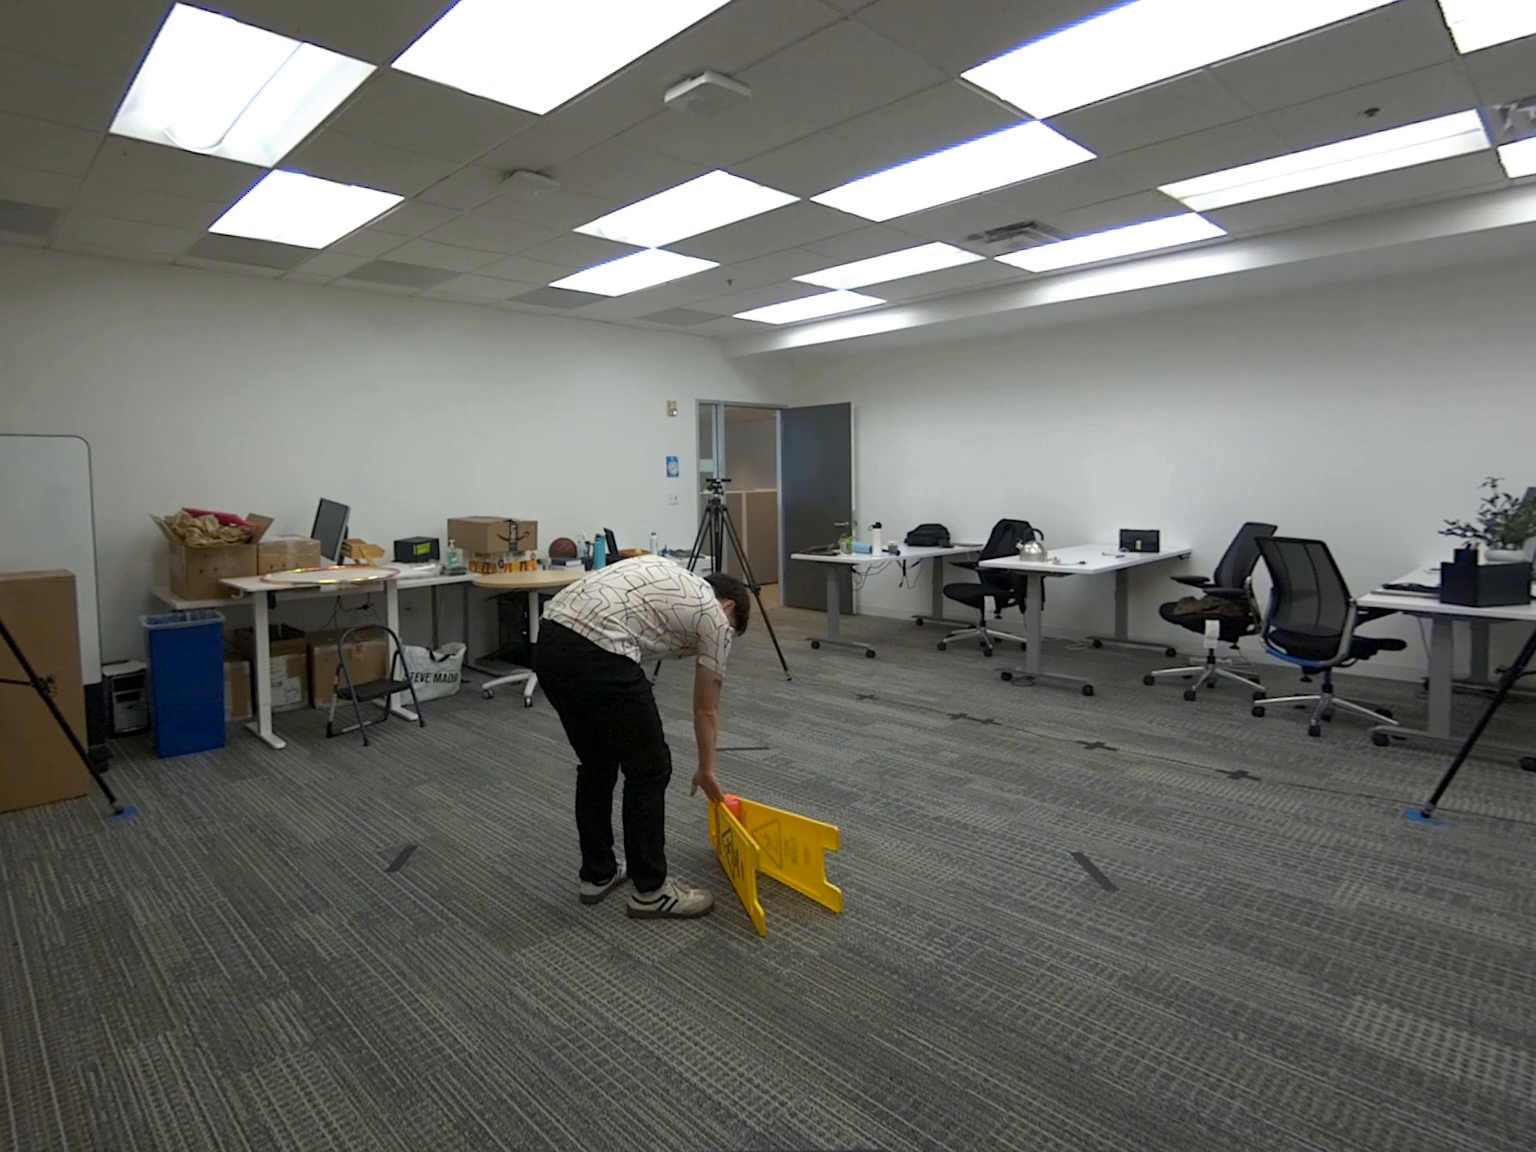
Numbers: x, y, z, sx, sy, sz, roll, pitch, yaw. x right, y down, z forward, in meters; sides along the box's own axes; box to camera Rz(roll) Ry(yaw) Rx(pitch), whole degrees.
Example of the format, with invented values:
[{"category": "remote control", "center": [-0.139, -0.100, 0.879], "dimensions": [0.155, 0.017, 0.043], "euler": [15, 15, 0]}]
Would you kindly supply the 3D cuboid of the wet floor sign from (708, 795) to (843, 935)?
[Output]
[{"category": "wet floor sign", "center": [-0.057, 0.929, 2.949], "dimensions": [0.283, 0.281, 0.662], "euler": [-5, 5, -29]}]
